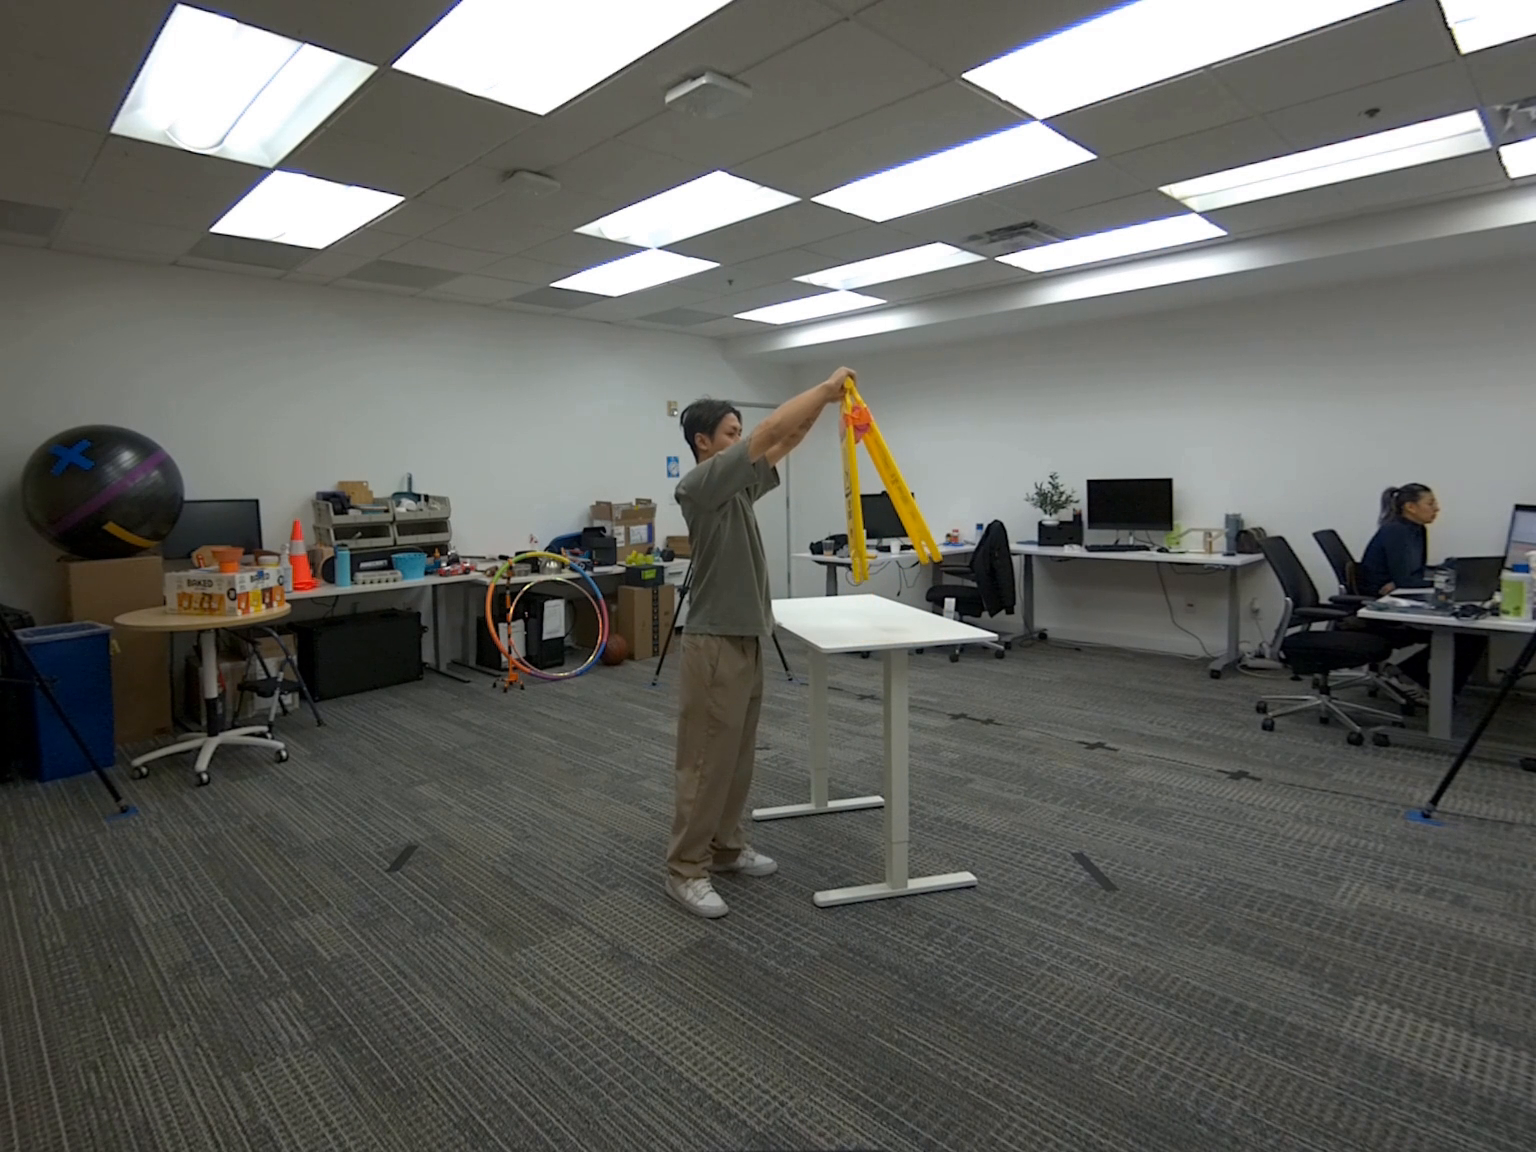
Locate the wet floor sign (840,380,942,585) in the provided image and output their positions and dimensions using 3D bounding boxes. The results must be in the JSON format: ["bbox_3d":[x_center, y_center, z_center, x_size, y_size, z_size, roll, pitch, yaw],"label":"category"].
[{"bbox_3d":[0.333,-0.318,2.793,0.290,0.647,0.282,-13,-1,0],"label":"wet floor sign"}]
